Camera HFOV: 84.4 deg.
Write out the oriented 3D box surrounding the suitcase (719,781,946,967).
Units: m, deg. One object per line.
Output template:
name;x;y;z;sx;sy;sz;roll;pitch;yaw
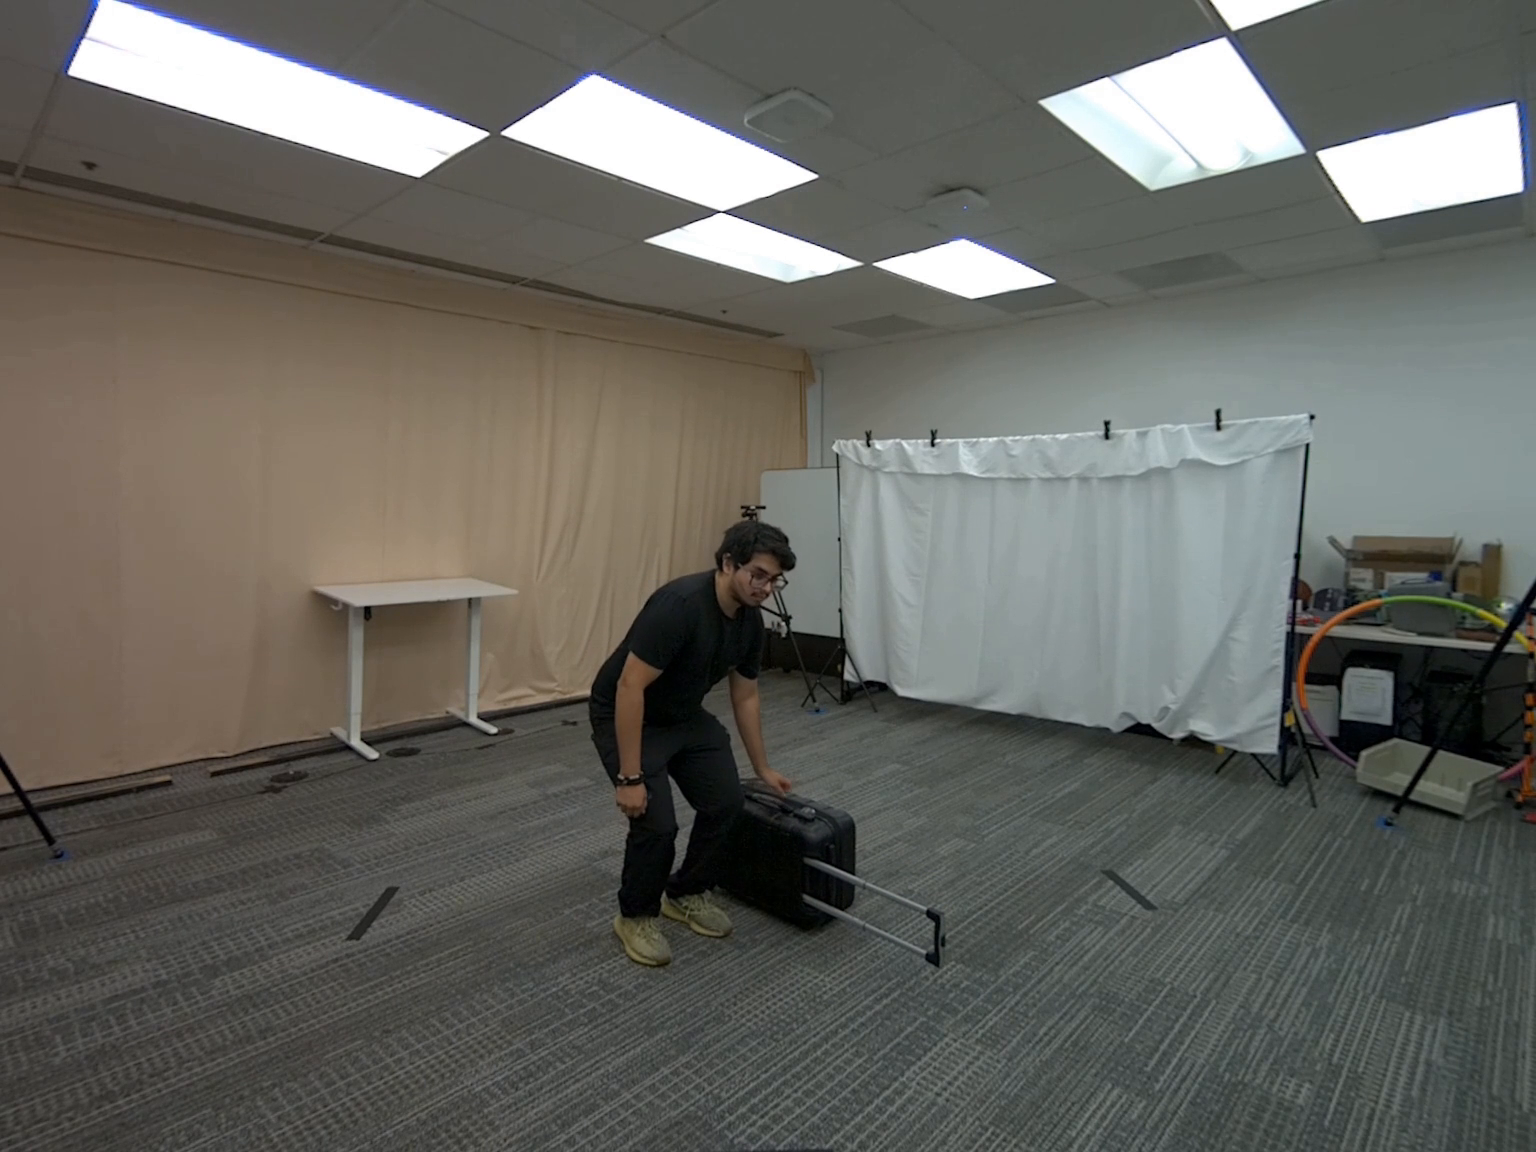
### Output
suitcase;0.204;0.969;2.804;1.011;0.383;0.249;5;5;43
